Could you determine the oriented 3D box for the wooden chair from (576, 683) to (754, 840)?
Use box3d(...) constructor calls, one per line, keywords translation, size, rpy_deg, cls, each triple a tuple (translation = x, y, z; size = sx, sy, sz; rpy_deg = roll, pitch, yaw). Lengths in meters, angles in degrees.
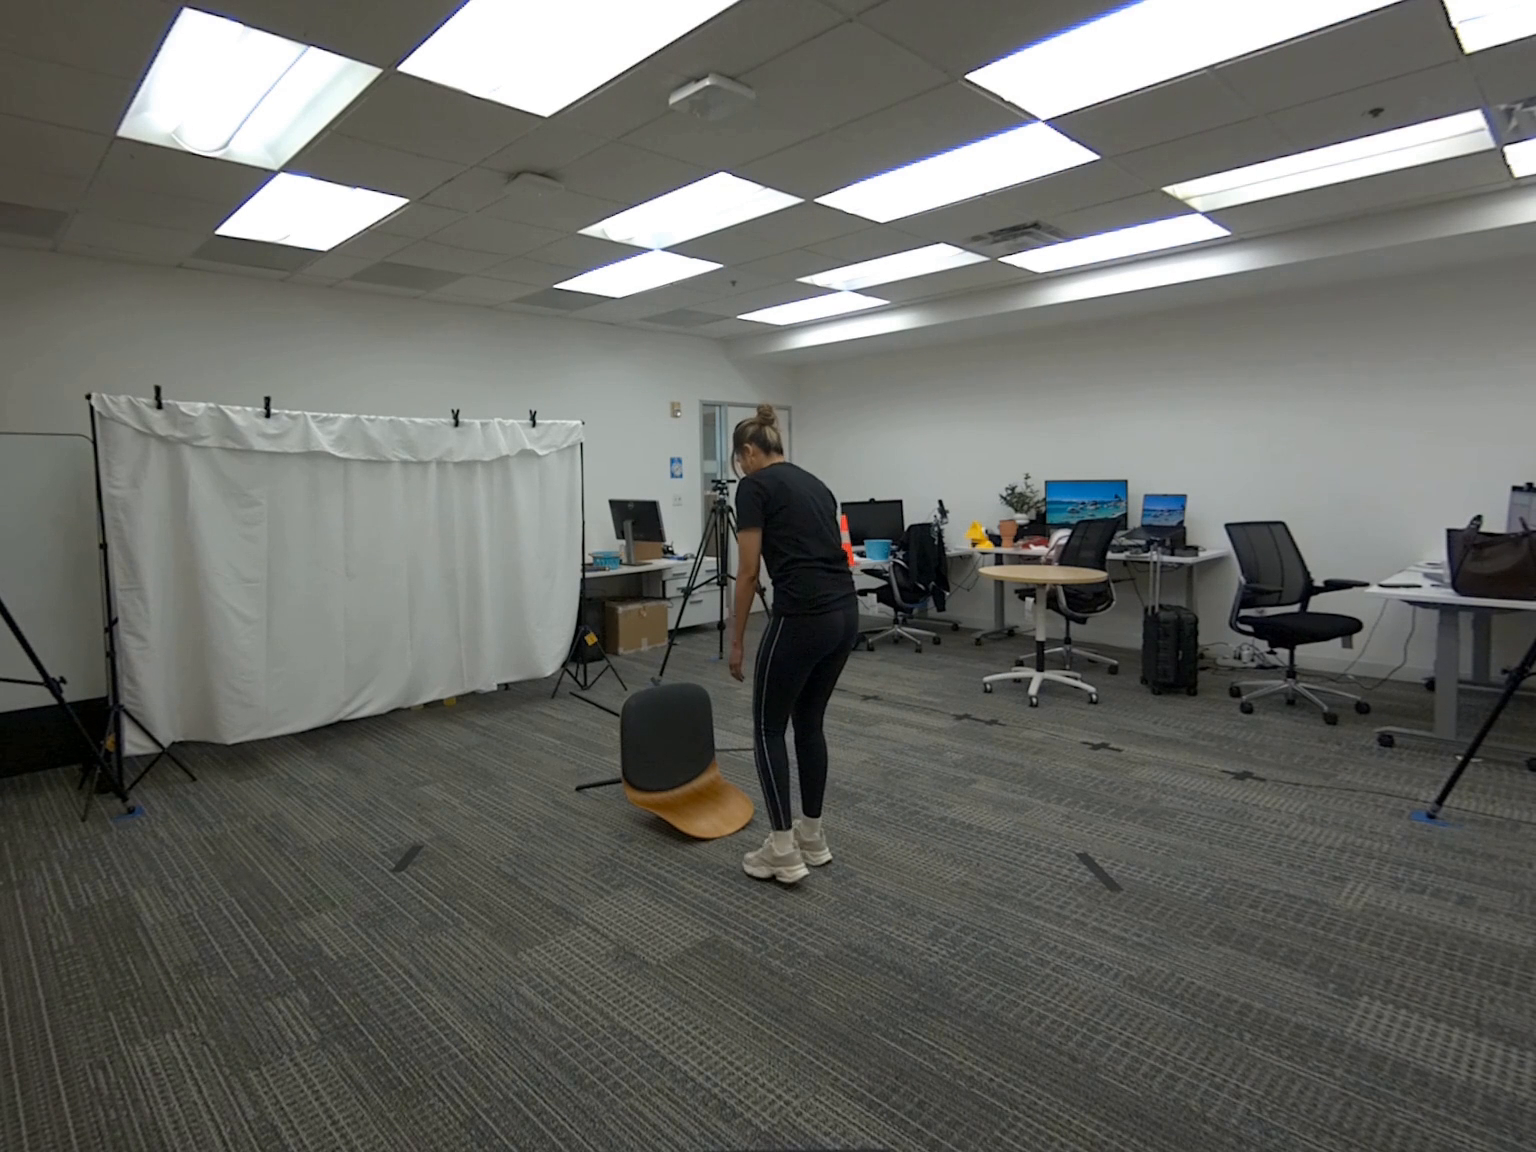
box3d(translation=(-0.447, 0.730, 3.674), size=(0.466, 0.521, 0.904), rpy_deg=(-4, 7, -38), cls="wooden chair")
